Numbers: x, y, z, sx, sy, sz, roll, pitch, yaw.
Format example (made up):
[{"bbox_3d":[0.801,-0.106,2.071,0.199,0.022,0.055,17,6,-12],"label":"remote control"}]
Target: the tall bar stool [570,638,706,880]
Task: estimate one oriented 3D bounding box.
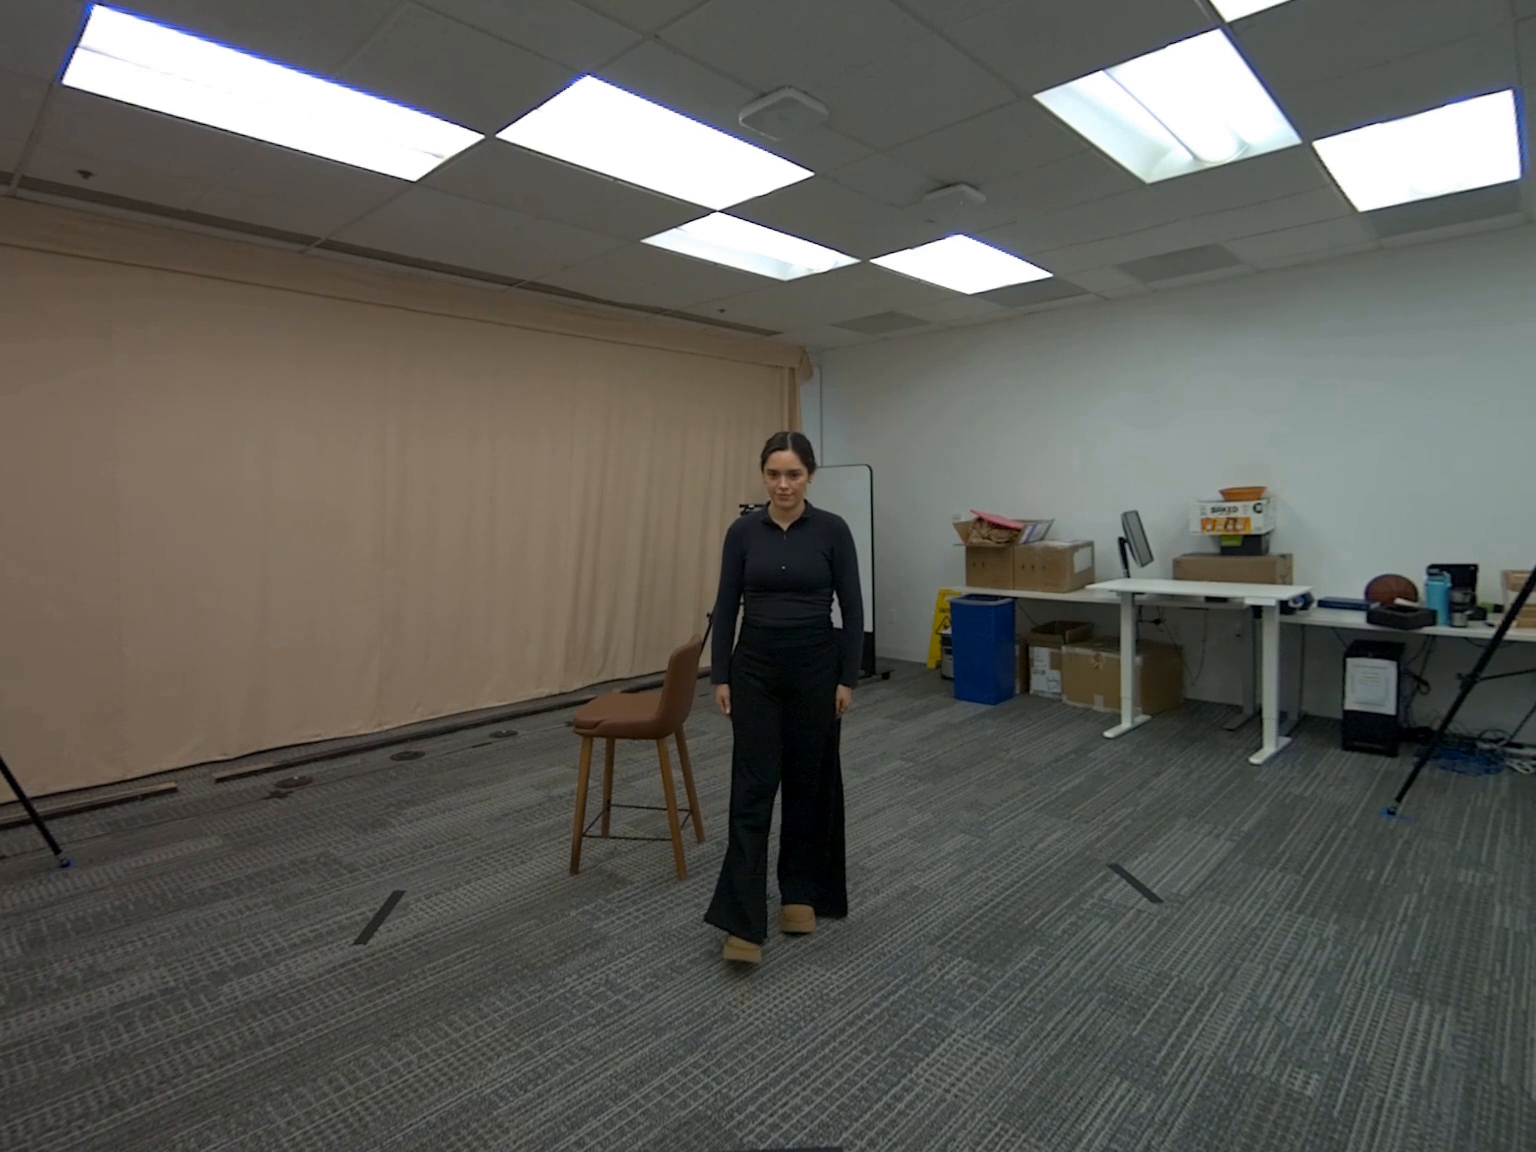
[{"bbox_3d":[-0.514,0.687,3.336,0.473,0.888,0.452,1,4,10],"label":"tall bar stool"}]
